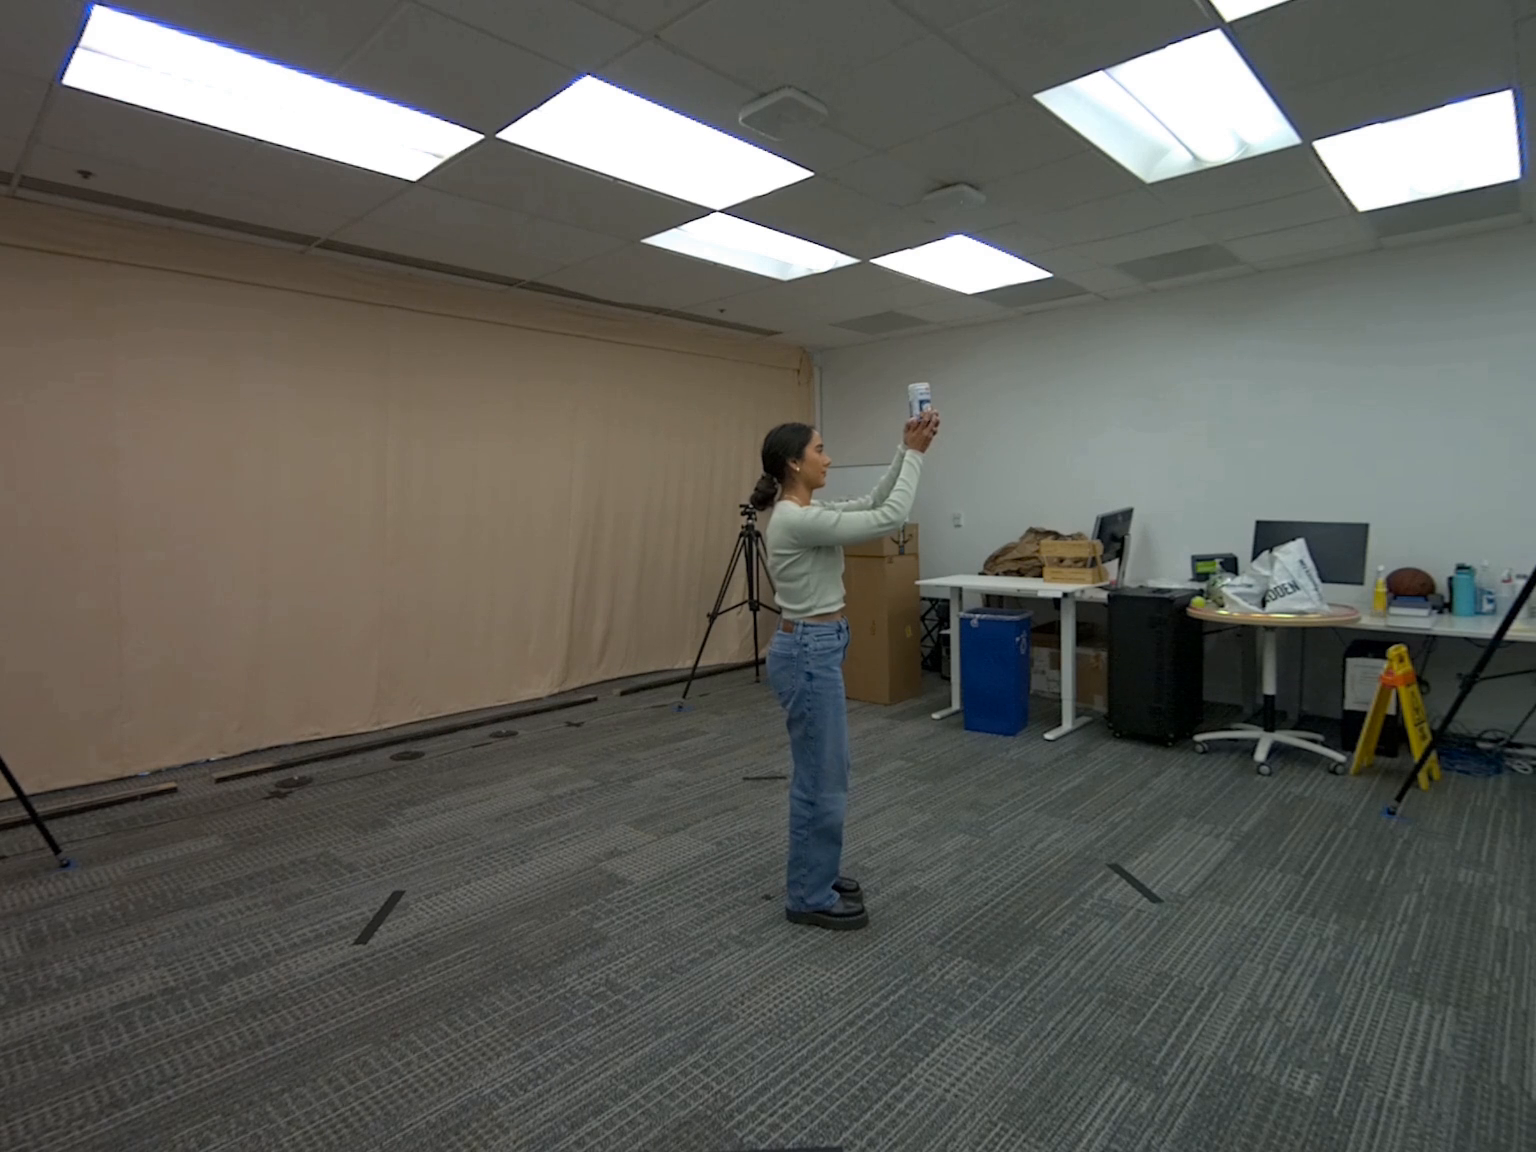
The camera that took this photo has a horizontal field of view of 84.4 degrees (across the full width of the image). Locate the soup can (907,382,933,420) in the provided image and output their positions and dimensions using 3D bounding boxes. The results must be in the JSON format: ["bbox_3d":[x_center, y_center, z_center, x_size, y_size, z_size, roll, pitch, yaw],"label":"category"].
[{"bbox_3d":[0.479,-0.550,2.684,0.067,0.121,0.067,-1,2,-2],"label":"soup can"}]
